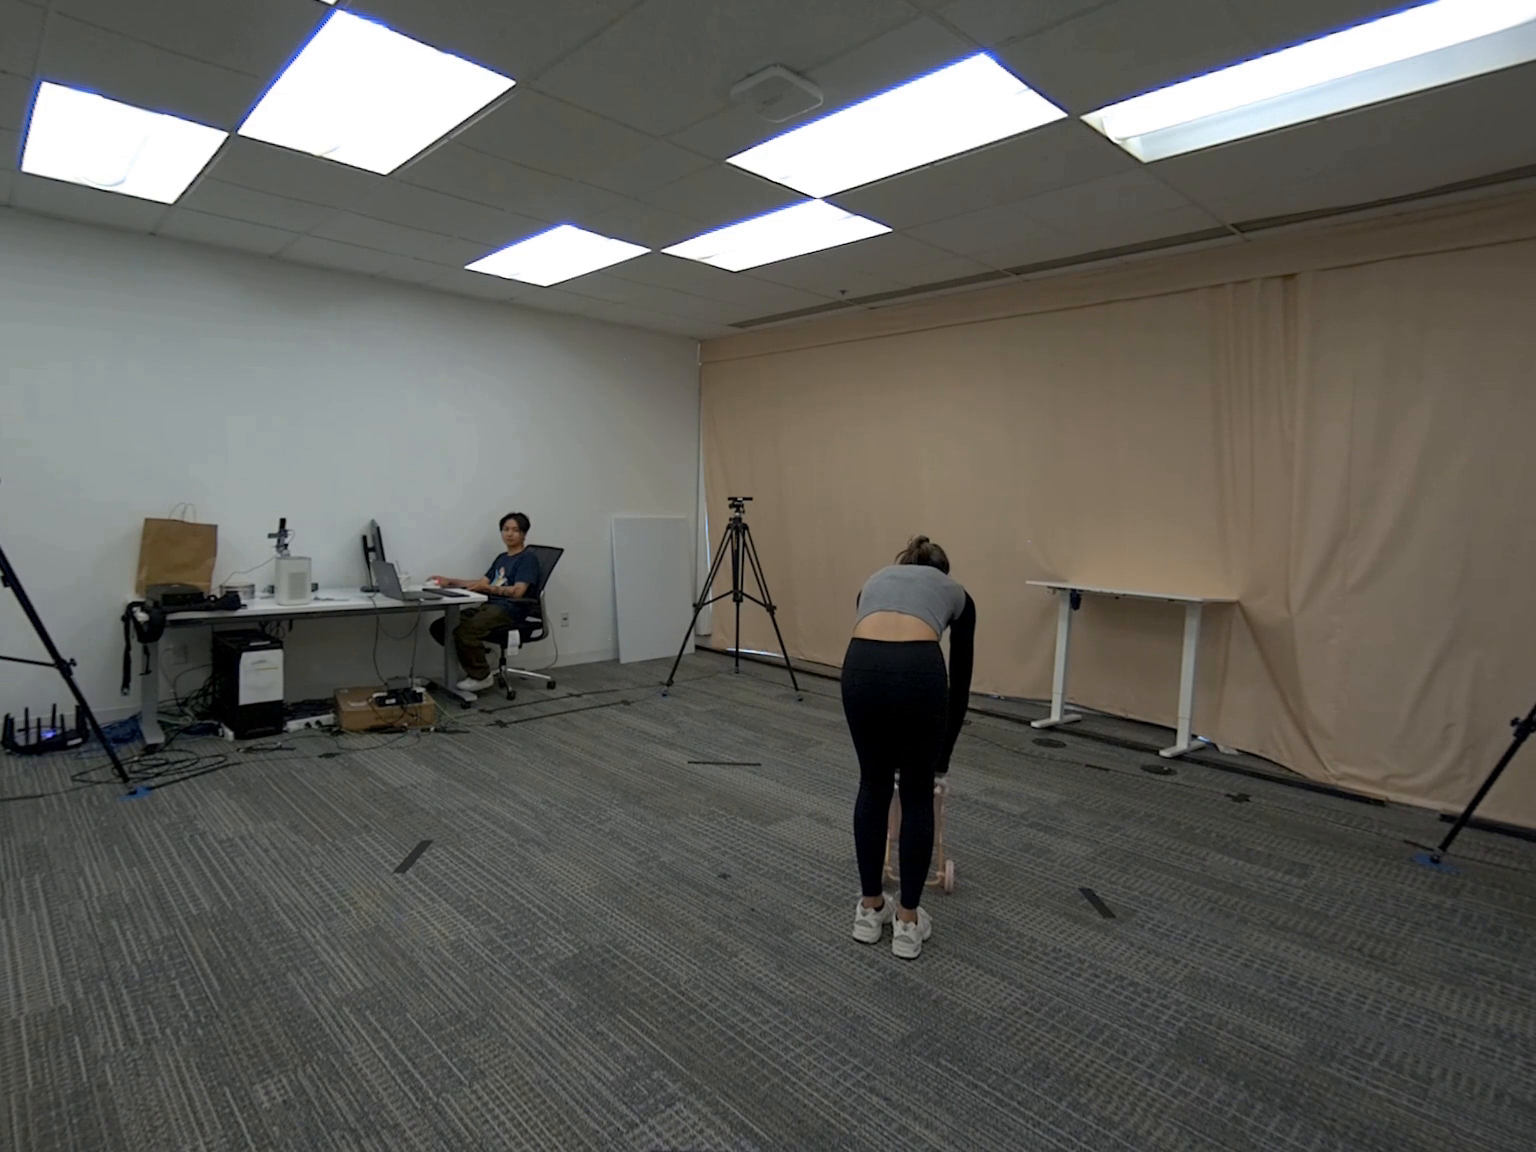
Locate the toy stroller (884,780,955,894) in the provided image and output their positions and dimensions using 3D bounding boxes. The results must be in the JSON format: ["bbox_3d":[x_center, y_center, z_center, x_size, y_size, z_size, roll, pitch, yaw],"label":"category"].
[{"bbox_3d":[0.542,0.897,3.107,0.285,0.529,0.341,2,16,15],"label":"toy stroller"}]
